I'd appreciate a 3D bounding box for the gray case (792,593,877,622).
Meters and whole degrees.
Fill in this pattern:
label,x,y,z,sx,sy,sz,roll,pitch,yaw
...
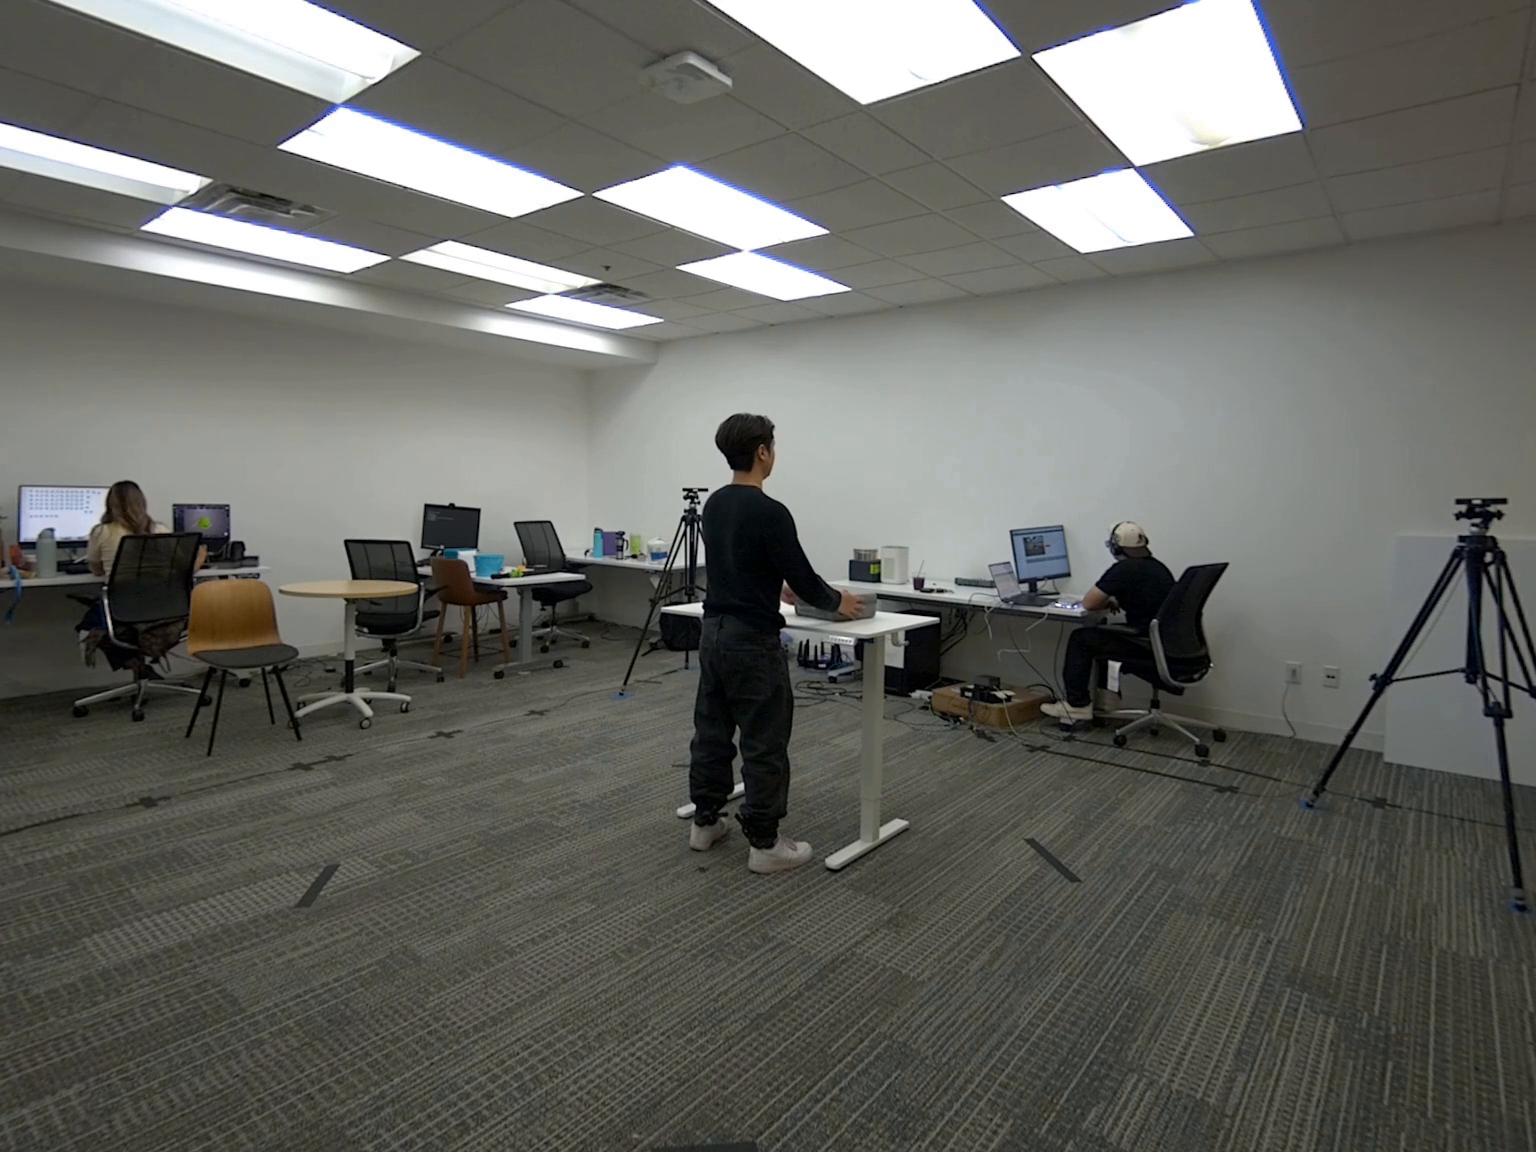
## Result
label,x,y,z,sx,sy,sz,roll,pitch,yaw
gray case,0.265,0.111,3.455,0.253,0.104,0.266,-3,6,-41
